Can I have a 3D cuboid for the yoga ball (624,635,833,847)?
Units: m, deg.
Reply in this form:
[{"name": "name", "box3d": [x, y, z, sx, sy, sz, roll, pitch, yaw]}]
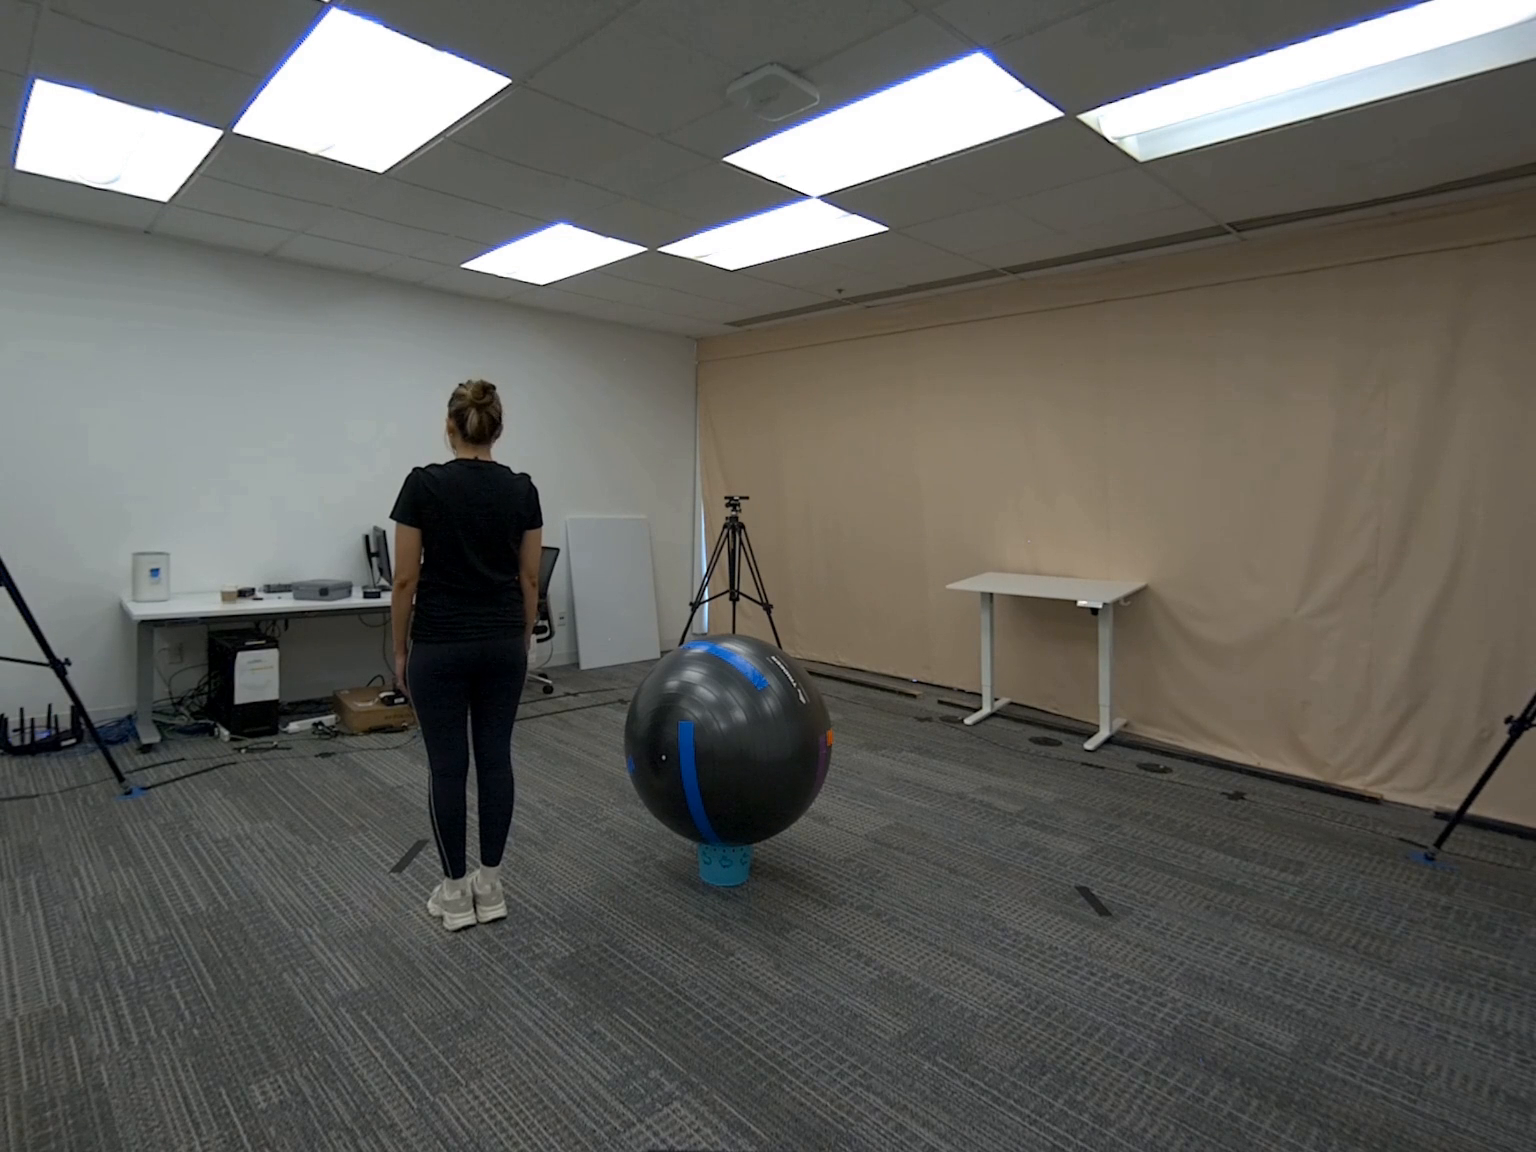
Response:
[{"name": "yoga ball", "box3d": [-0.151, 0.594, 3.079, 0.757, 0.756, 0.761, 1, 4, -1]}]
